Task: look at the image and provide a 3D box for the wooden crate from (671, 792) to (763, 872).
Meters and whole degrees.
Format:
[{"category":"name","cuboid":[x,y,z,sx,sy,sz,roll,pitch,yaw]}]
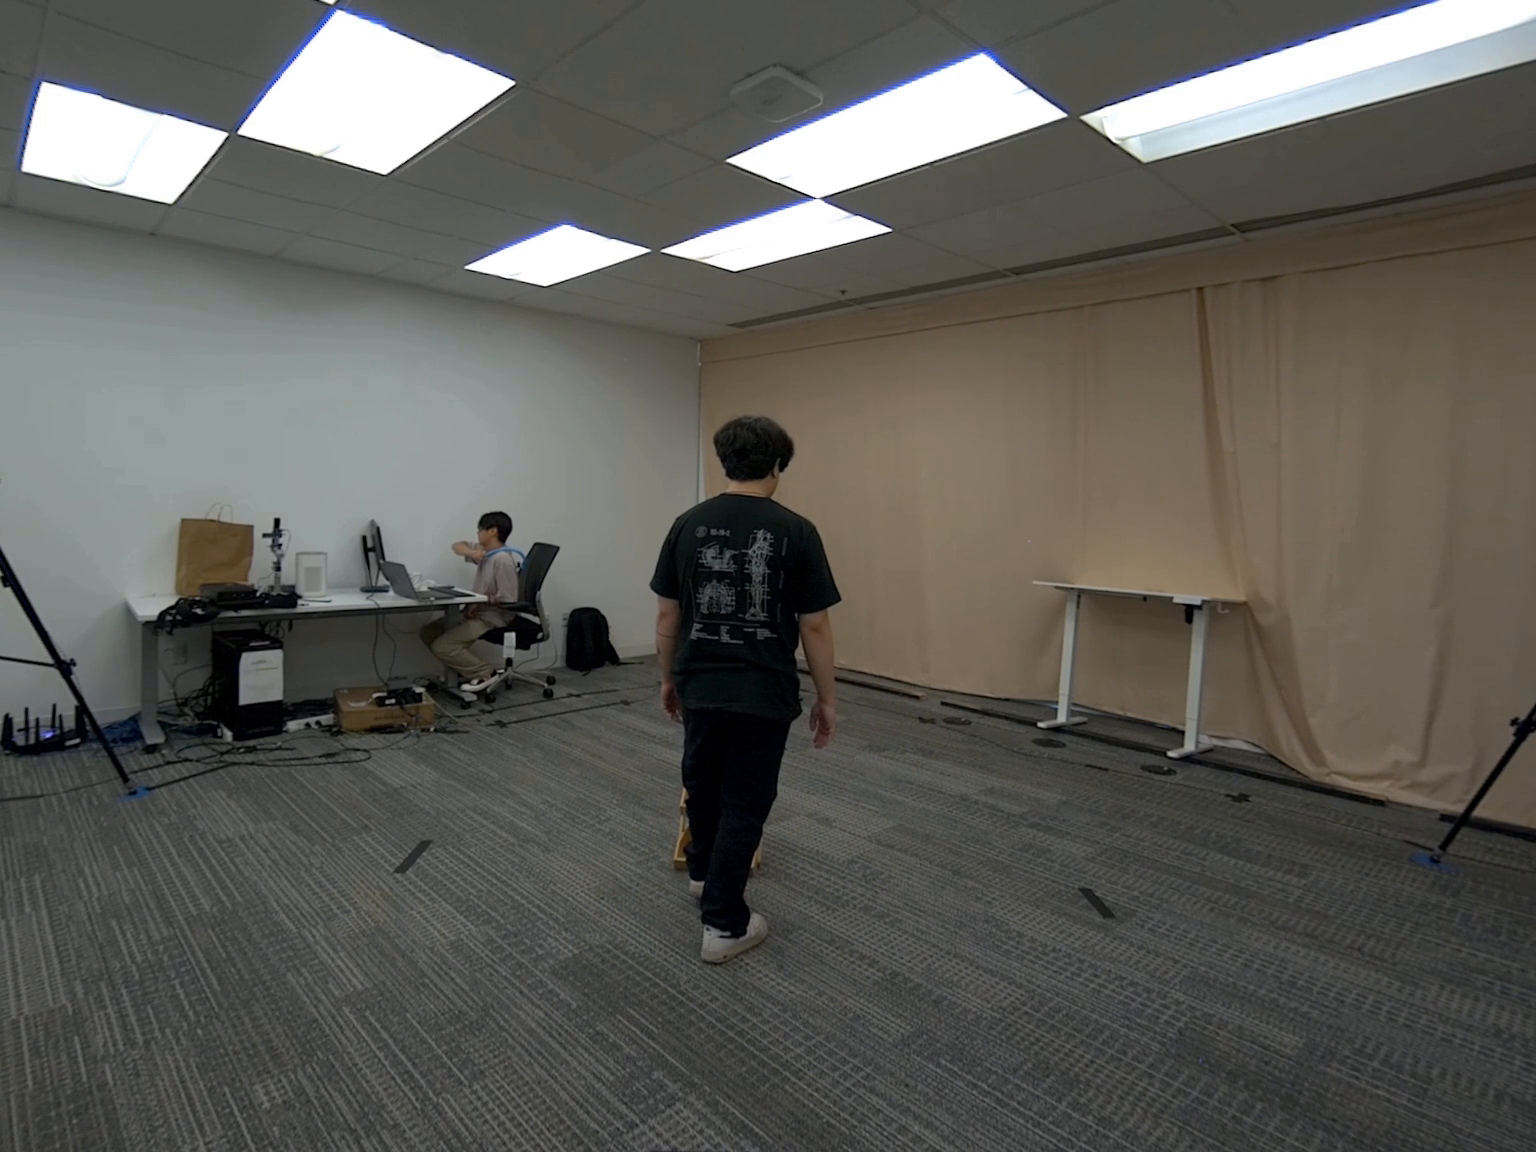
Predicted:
[{"category":"wooden crate","cuboid":[-0.185,0.965,3.234,0.326,0.273,0.301,2,3,7]}]
